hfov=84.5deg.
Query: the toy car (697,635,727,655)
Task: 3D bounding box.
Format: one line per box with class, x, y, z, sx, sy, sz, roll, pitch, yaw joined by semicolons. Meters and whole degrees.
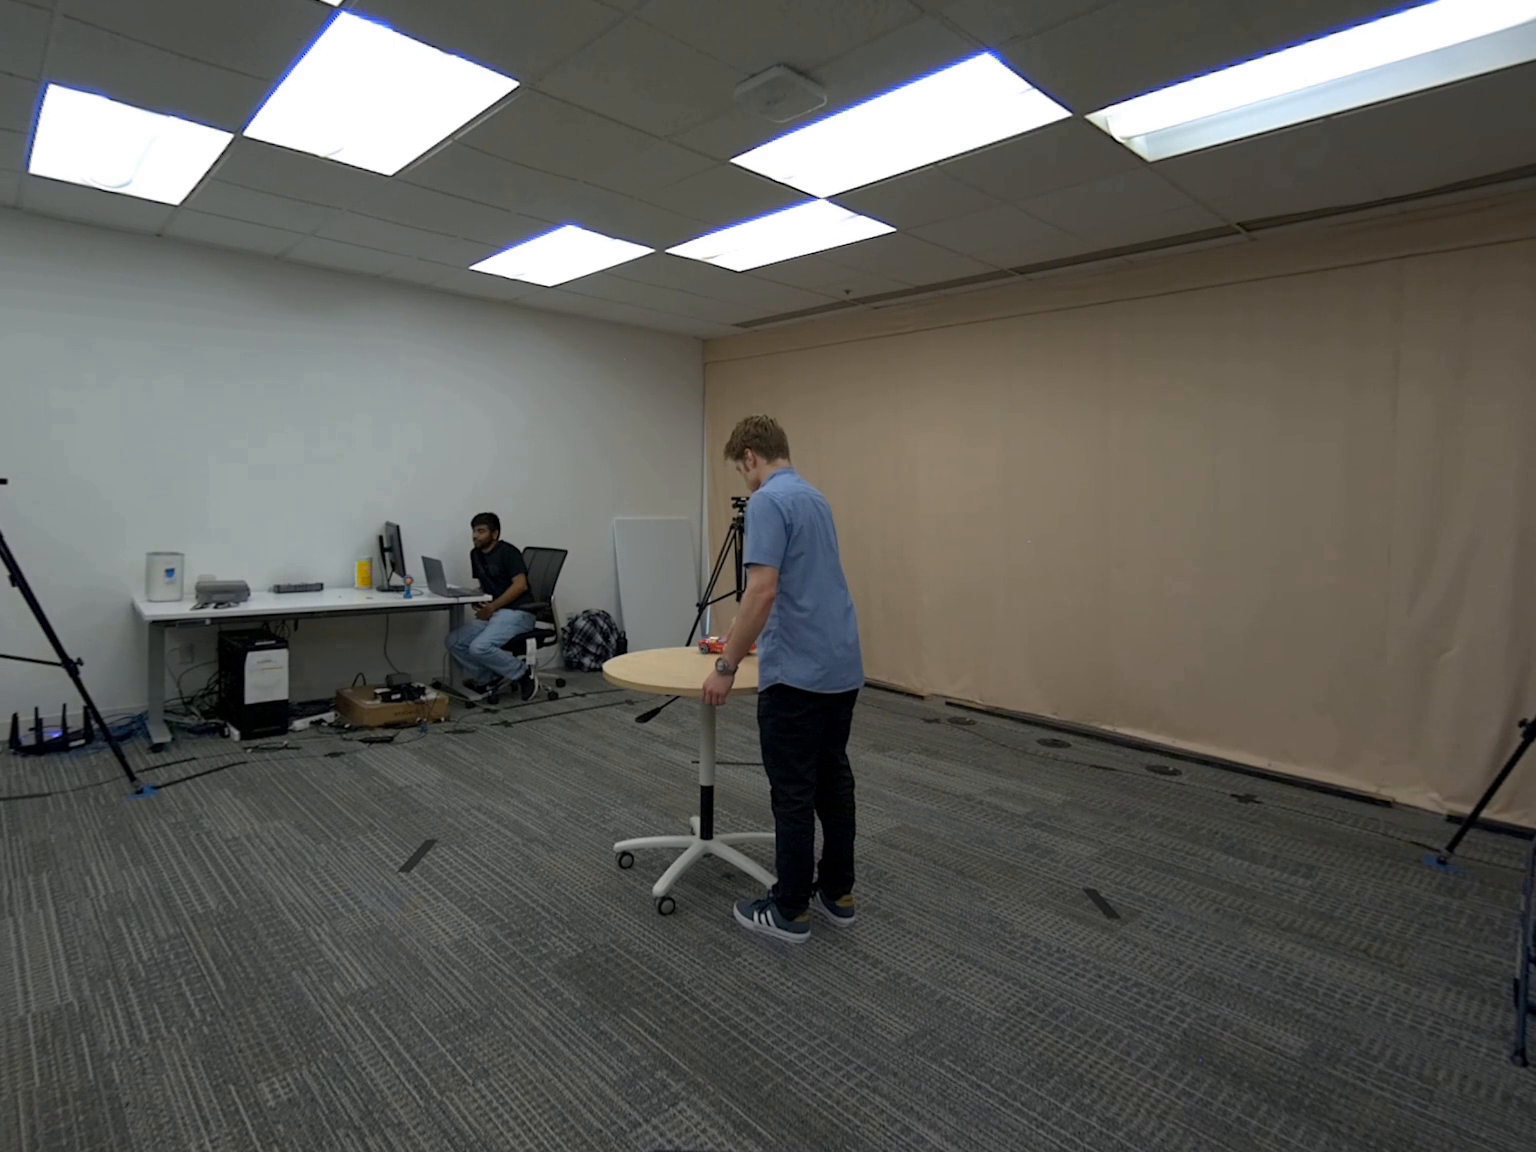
toy car;-0.152;0.275;3.289;0.258;0.083;0.128;-9;1;20
